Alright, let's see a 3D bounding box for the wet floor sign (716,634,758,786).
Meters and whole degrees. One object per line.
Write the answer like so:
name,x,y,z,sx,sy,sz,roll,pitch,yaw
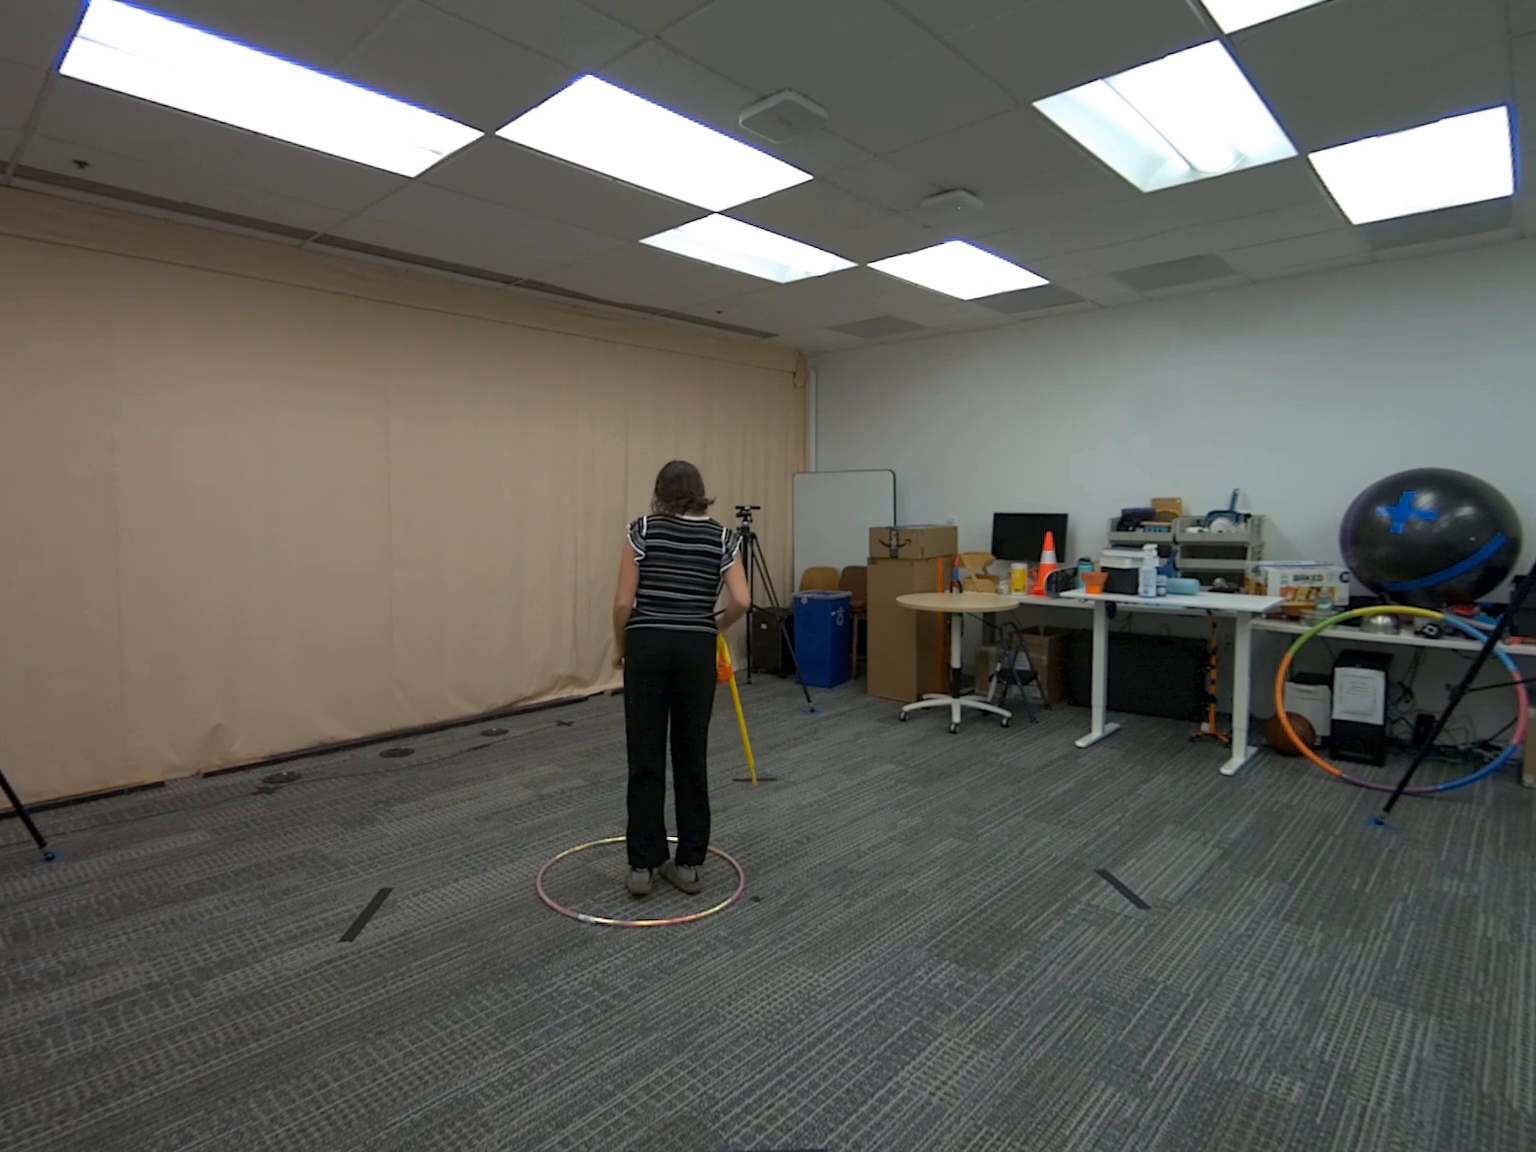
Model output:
wet floor sign,-0.198,0.504,3.380,0.288,0.640,0.286,-3,15,-6
